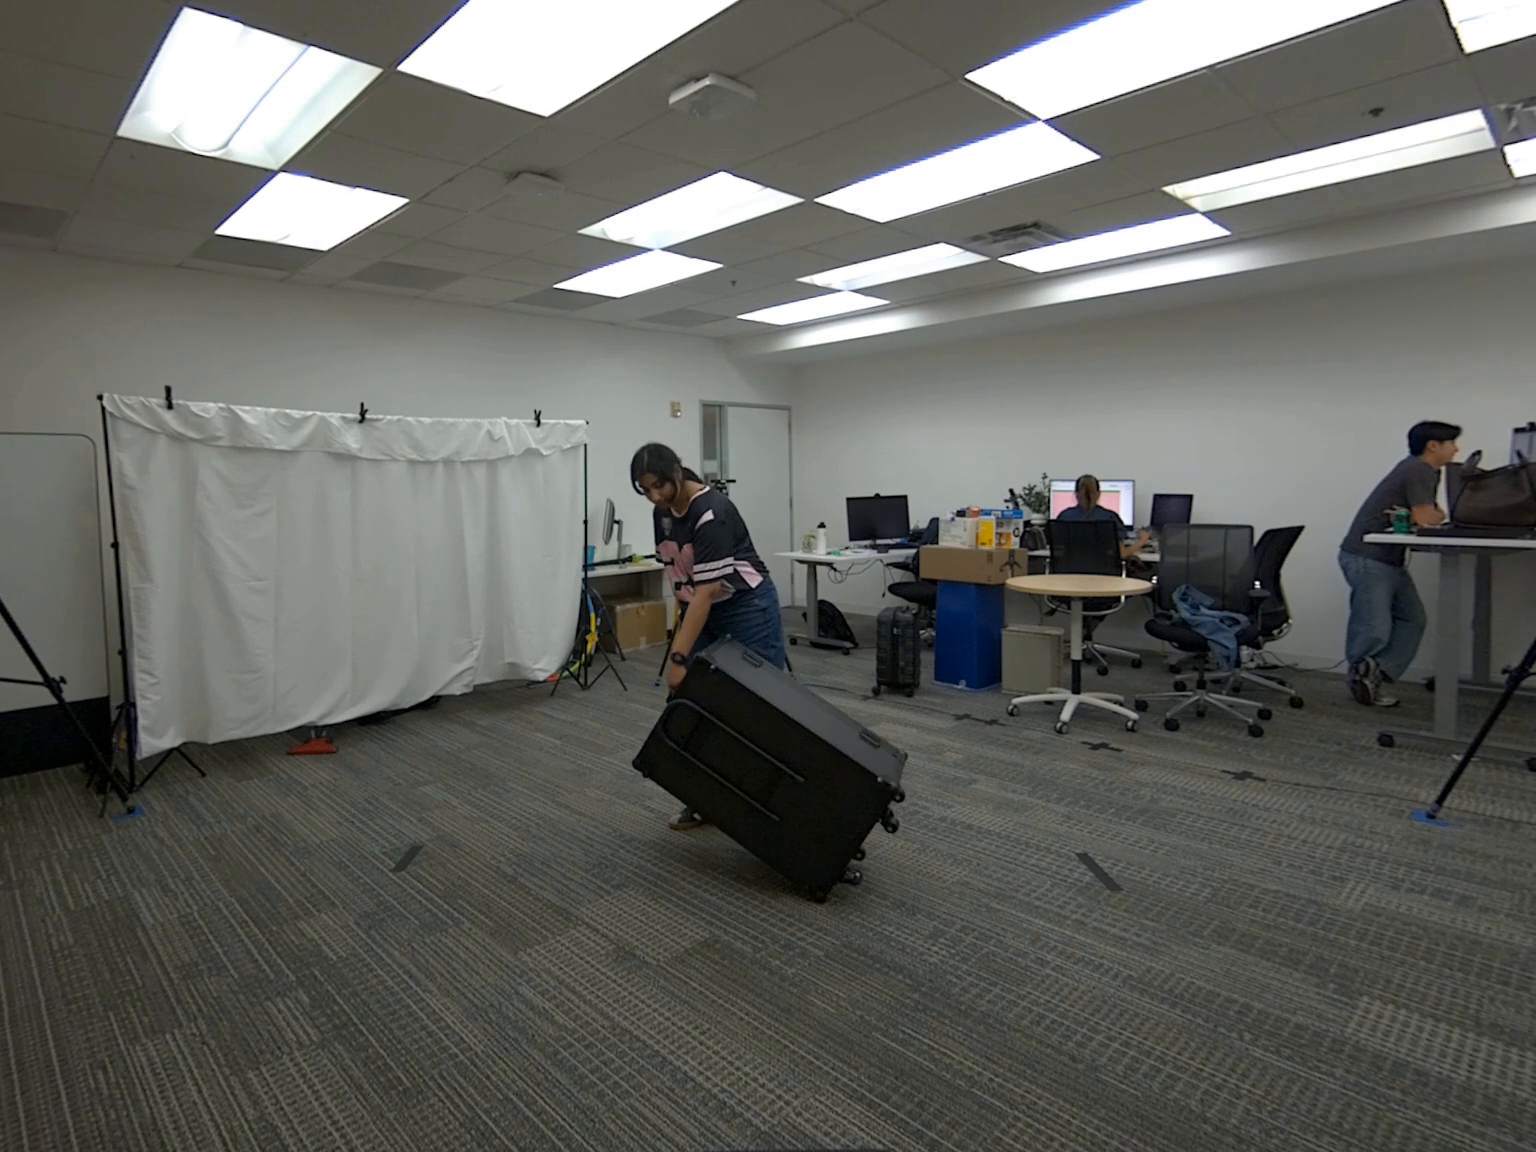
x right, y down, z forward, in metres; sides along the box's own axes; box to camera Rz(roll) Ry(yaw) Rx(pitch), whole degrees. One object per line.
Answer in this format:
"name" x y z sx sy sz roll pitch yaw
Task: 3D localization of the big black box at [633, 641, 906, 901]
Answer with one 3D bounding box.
"big black box" 0.042 0.664 2.994 0.883 0.522 0.380 33 11 12
